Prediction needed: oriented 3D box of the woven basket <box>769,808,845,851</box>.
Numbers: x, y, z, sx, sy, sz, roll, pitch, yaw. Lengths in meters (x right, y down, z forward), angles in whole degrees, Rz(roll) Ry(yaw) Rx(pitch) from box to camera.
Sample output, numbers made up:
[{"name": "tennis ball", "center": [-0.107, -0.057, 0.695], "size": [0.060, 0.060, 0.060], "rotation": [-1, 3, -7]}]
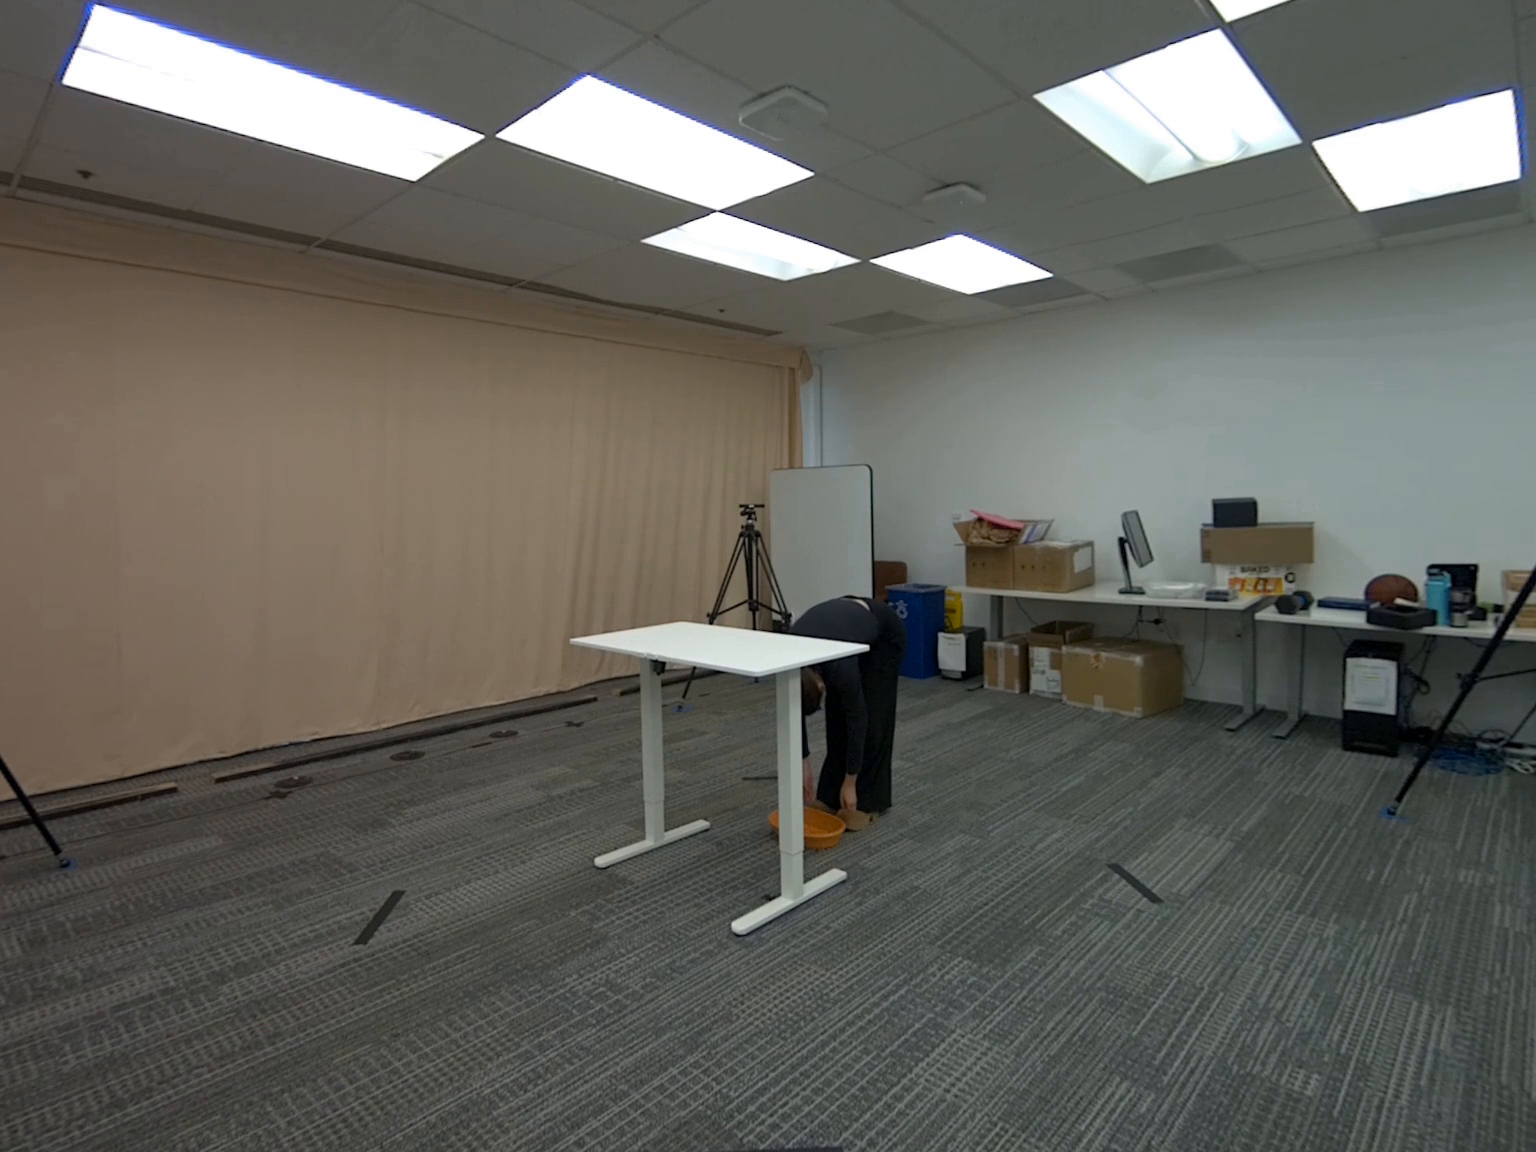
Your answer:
[{"name": "woven basket", "center": [0.161, 1.043, 3.509], "size": [0.245, 0.073, 0.362], "rotation": [-7, 7, -41]}]
